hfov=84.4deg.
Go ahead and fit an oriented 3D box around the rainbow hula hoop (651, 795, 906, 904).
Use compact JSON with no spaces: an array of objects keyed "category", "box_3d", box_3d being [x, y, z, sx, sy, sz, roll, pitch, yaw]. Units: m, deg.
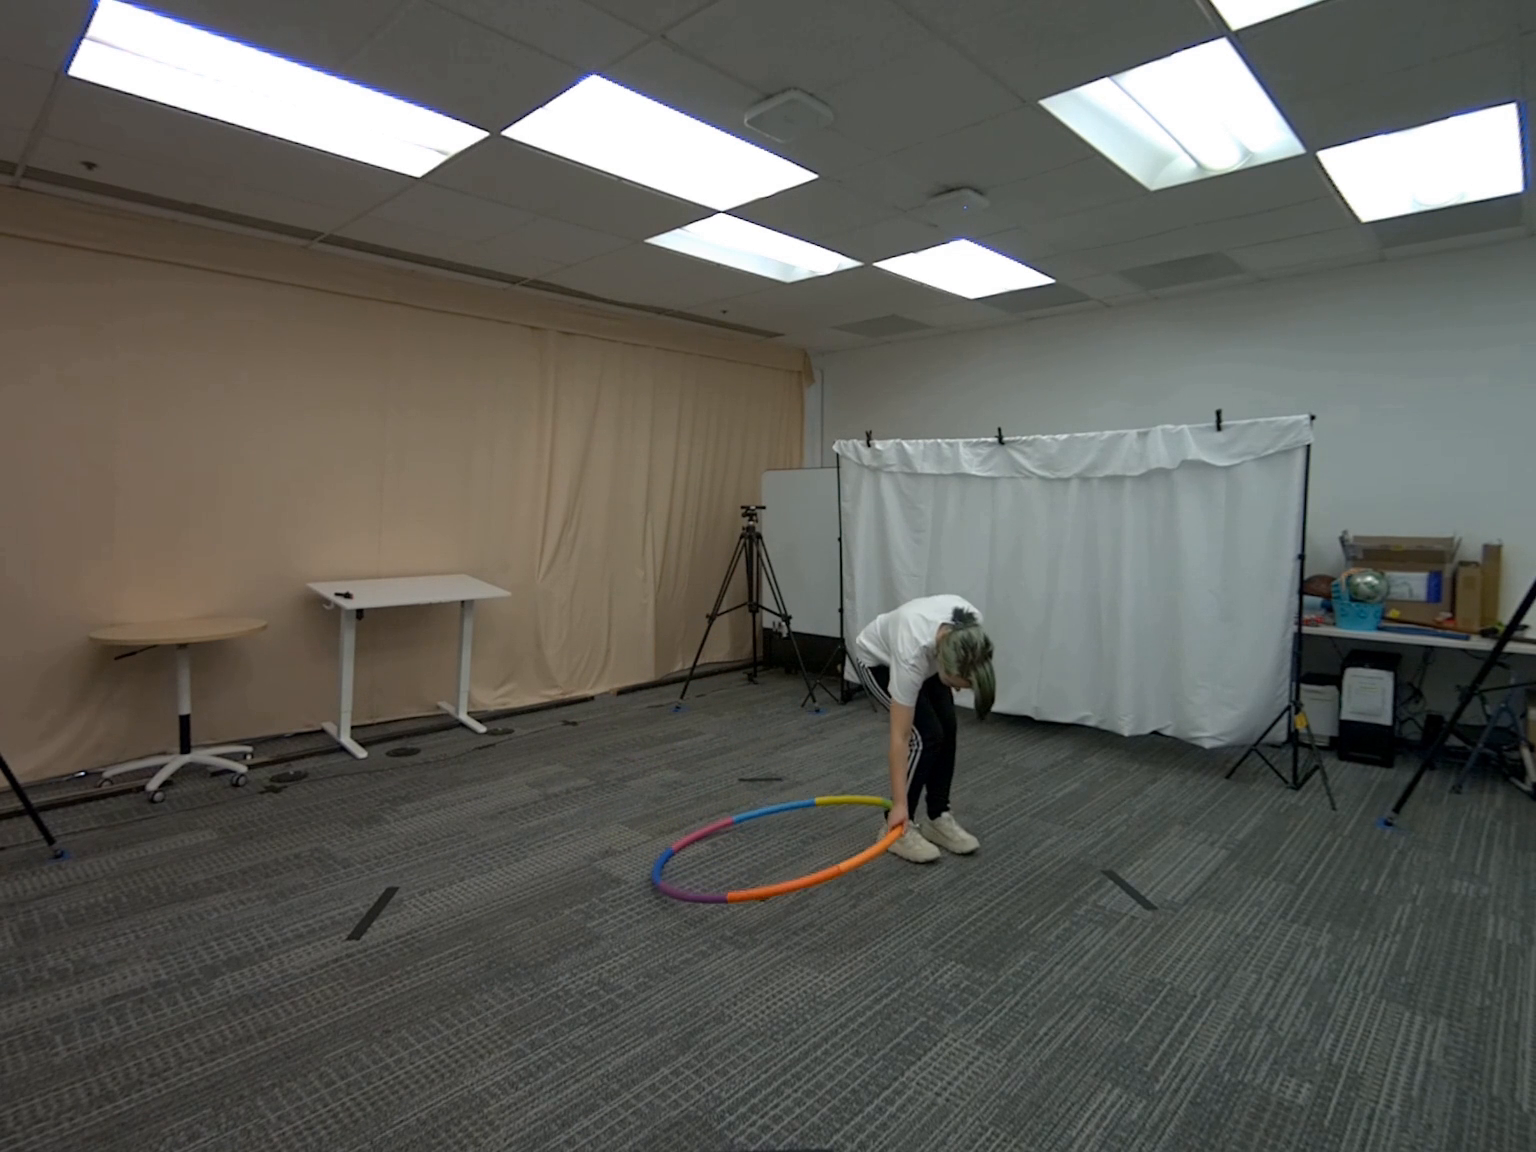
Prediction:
[{"category":"rainbow hula hoop","box_3d":[0.037,0.989,3.165,0.977,0.035,0.979,-14,0,-2]}]
